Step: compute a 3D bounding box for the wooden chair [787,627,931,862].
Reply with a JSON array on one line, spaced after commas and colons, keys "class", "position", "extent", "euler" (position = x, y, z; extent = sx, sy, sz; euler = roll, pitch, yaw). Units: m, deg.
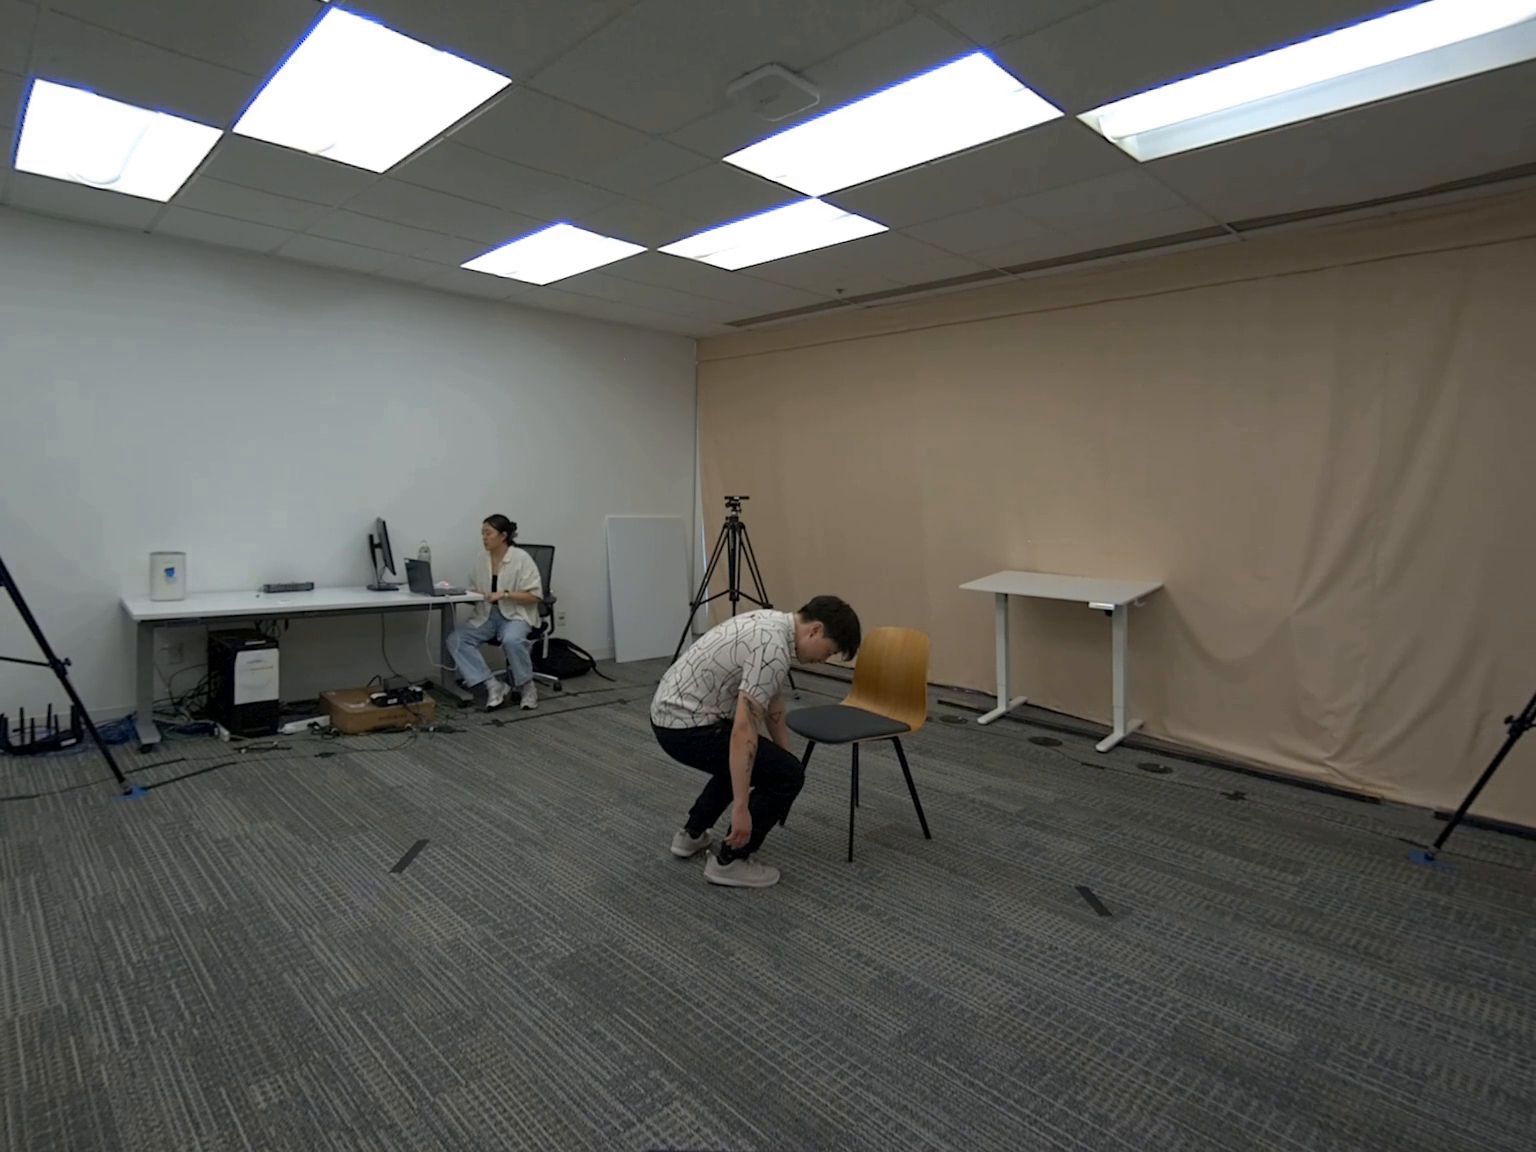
[{"class": "wooden chair", "position": [0.362, 0.653, 3.514], "extent": [0.511, 0.877, 0.490], "euler": [4, 1, -36]}]
